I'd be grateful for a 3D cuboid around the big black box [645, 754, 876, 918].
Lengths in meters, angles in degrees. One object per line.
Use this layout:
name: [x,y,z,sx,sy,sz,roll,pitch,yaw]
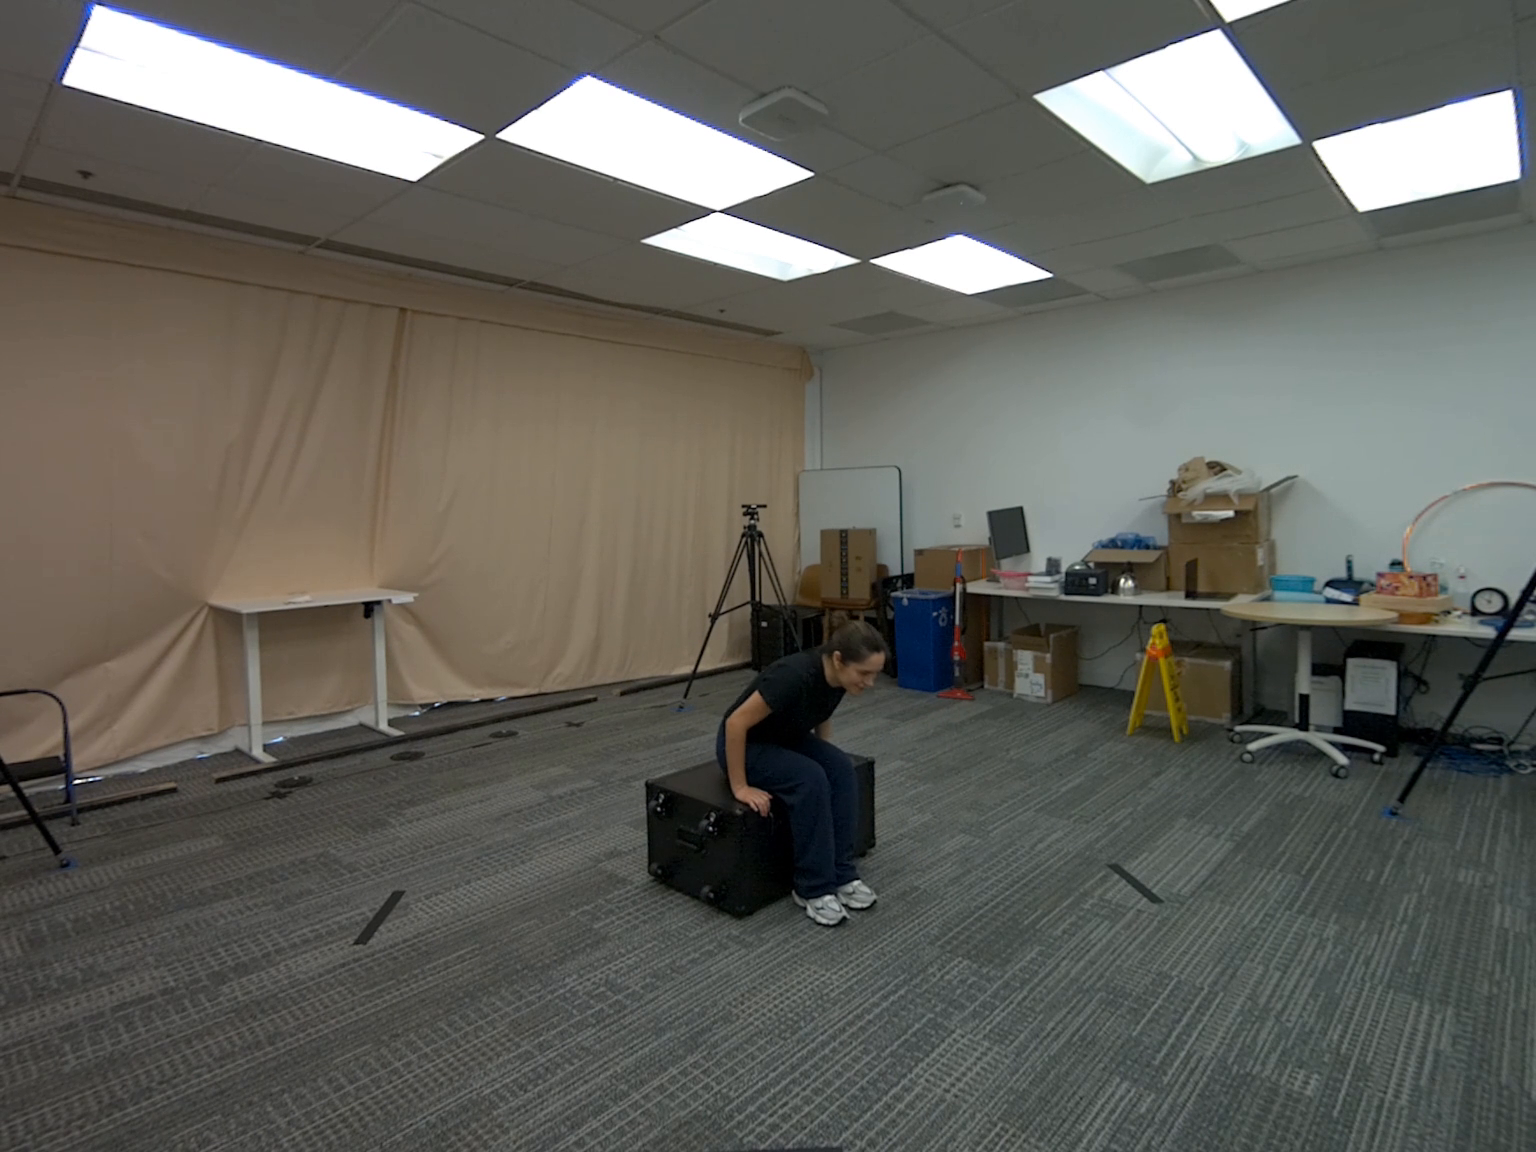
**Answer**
big black box: [-0.024,0.931,3.218,0.538,0.395,0.835,3,5,43]
